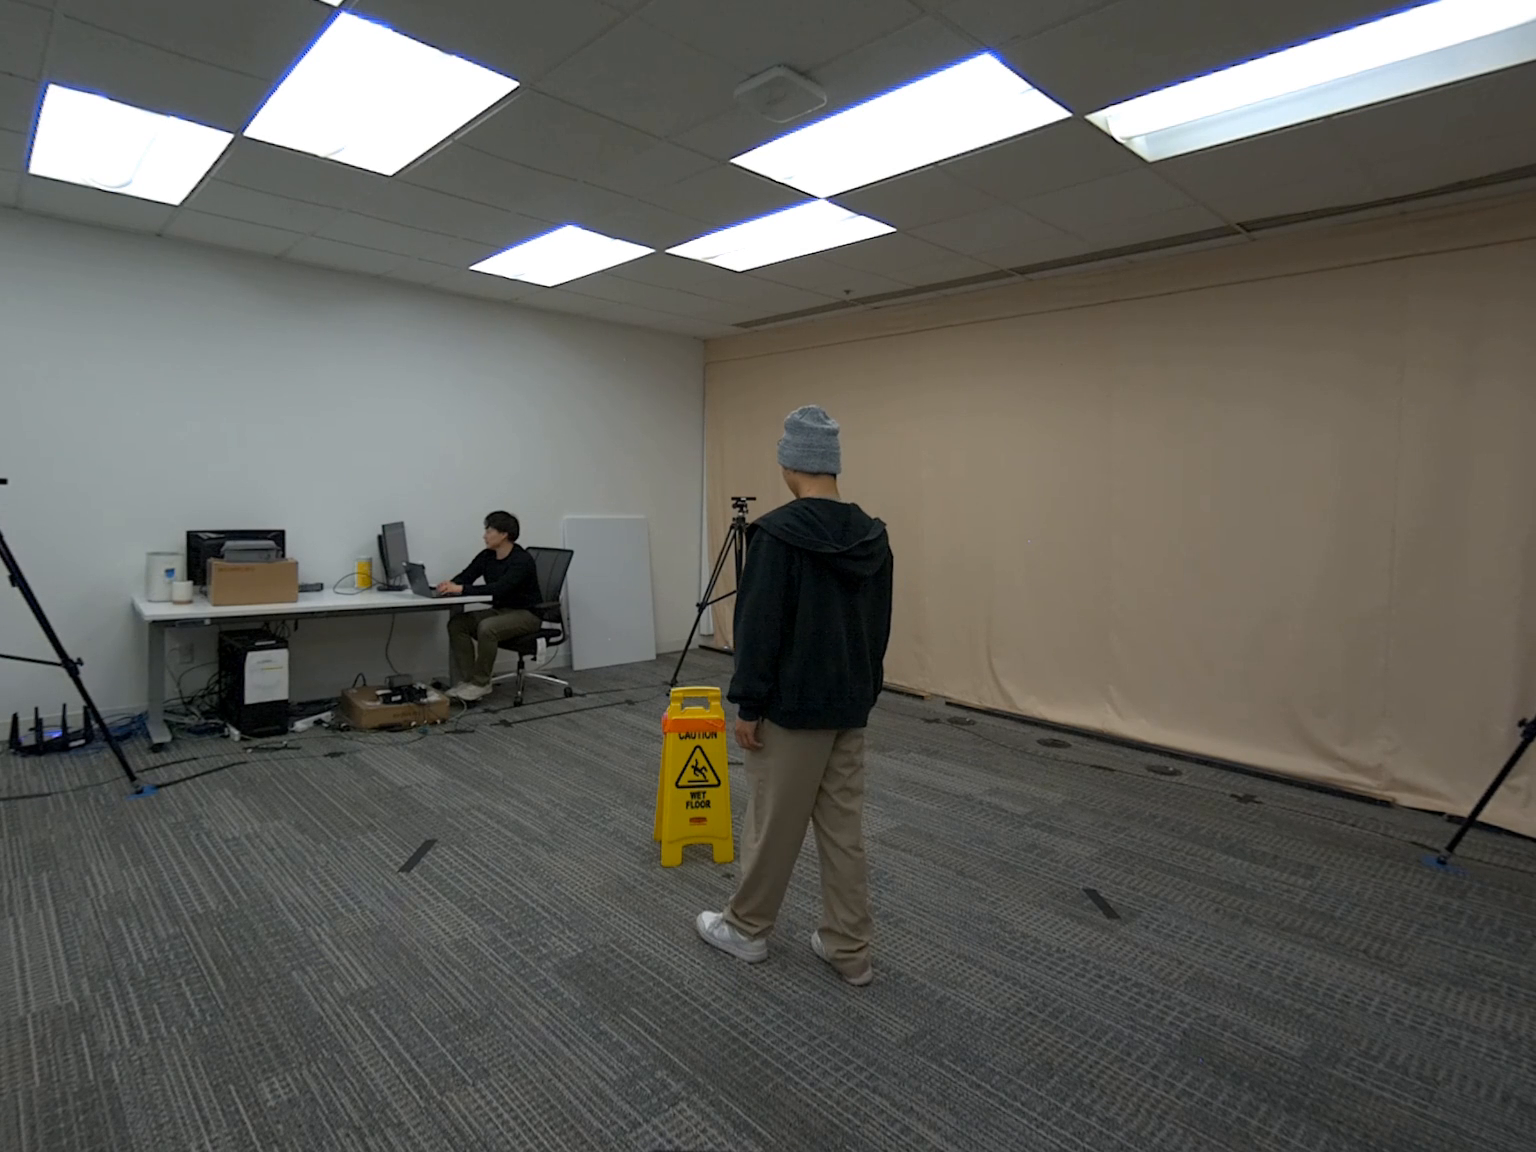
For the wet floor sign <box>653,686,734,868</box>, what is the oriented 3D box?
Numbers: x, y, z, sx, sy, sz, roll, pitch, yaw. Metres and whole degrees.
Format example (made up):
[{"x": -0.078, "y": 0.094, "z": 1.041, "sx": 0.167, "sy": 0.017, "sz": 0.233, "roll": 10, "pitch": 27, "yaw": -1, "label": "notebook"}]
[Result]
[{"x": -0.301, "y": 0.756, "z": 3.305, "sx": 0.279, "sy": 0.645, "sz": 0.293, "roll": 2, "pitch": 3, "yaw": -12, "label": "wet floor sign"}]
